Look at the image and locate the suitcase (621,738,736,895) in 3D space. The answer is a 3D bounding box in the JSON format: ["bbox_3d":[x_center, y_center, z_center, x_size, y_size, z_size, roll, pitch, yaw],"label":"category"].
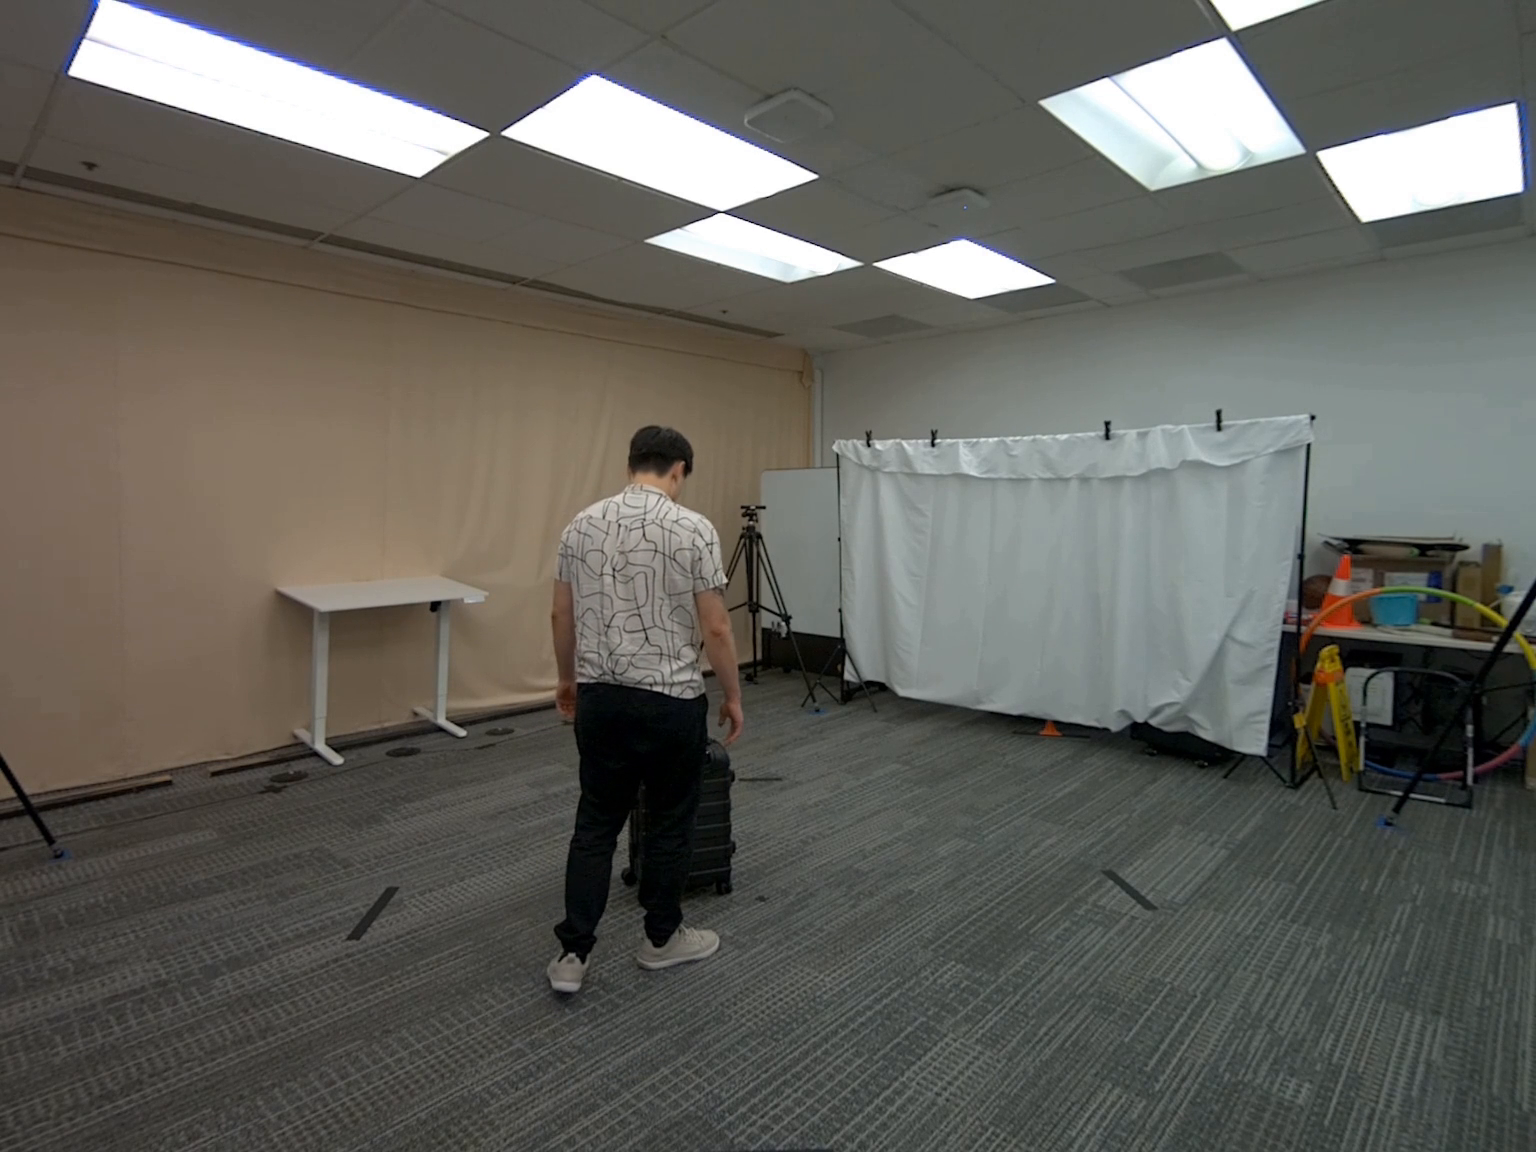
[{"bbox_3d":[-0.324,0.861,3.046,0.367,0.548,0.254,-2,3,-22],"label":"suitcase"}]
